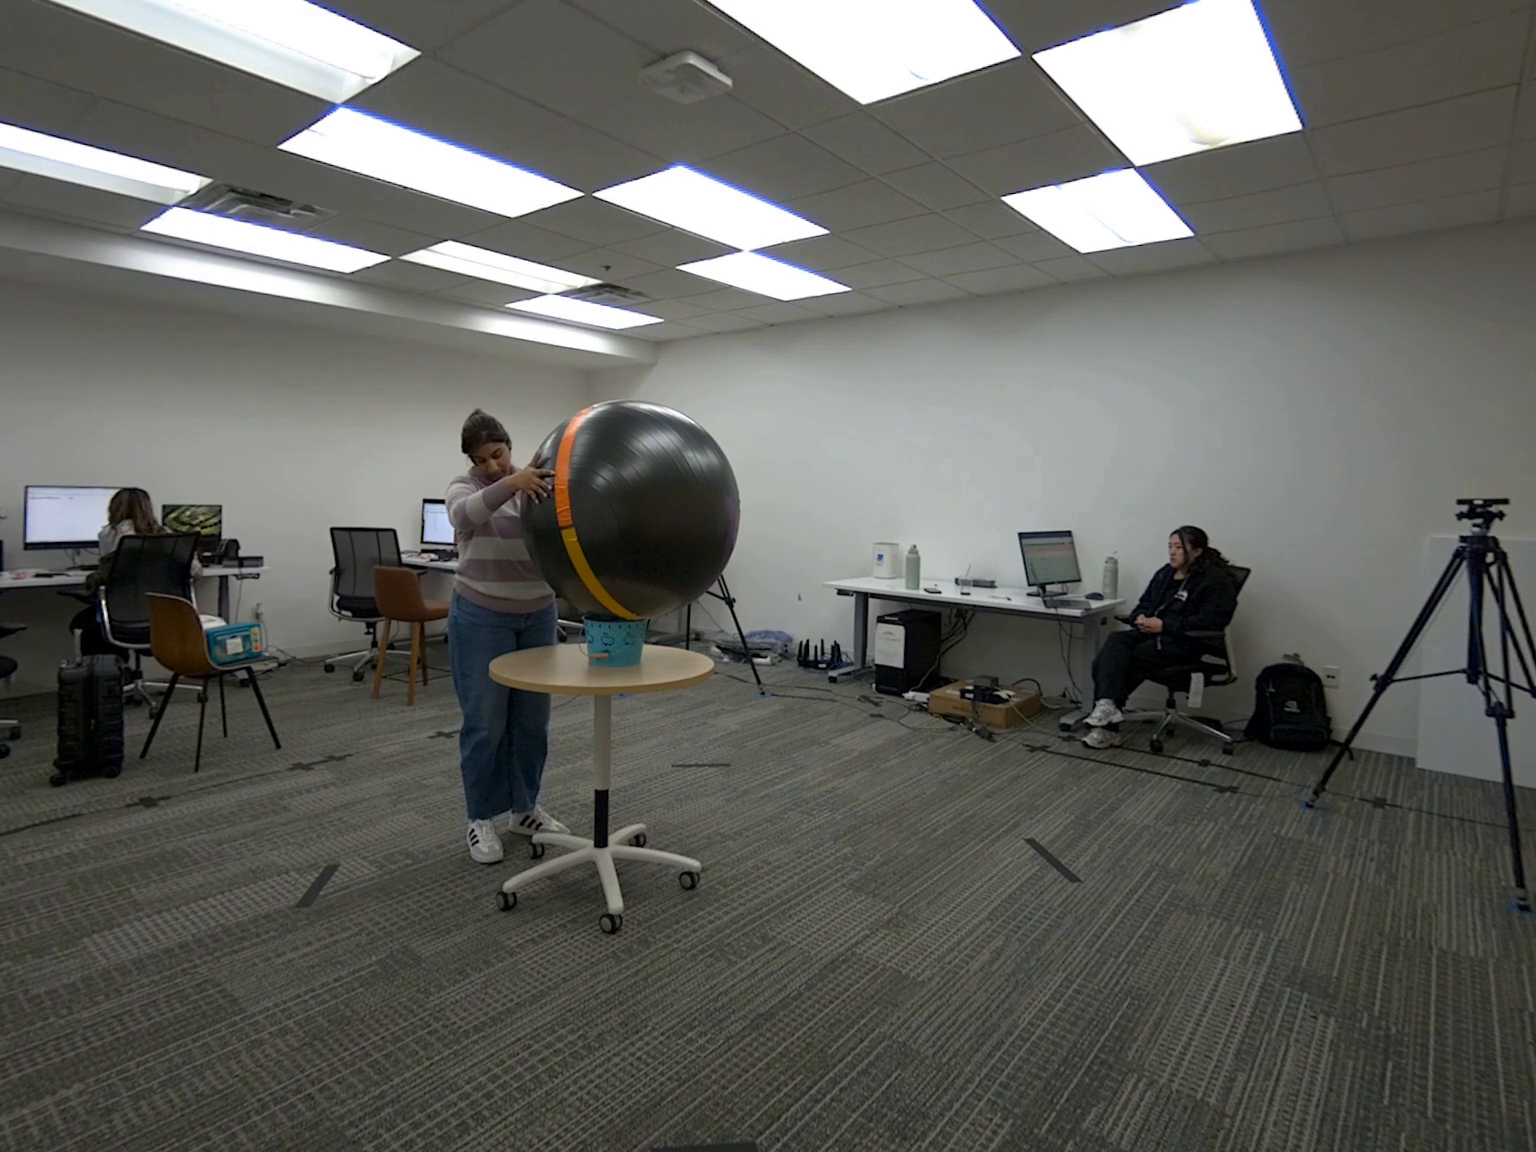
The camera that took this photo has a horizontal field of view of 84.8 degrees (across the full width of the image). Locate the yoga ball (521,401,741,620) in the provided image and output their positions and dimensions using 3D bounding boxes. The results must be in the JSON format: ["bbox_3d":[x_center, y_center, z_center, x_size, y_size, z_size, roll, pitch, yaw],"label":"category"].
[{"bbox_3d":[-0.483,-0.224,2.938,0.757,0.755,0.762,1,4,-2],"label":"yoga ball"}]
